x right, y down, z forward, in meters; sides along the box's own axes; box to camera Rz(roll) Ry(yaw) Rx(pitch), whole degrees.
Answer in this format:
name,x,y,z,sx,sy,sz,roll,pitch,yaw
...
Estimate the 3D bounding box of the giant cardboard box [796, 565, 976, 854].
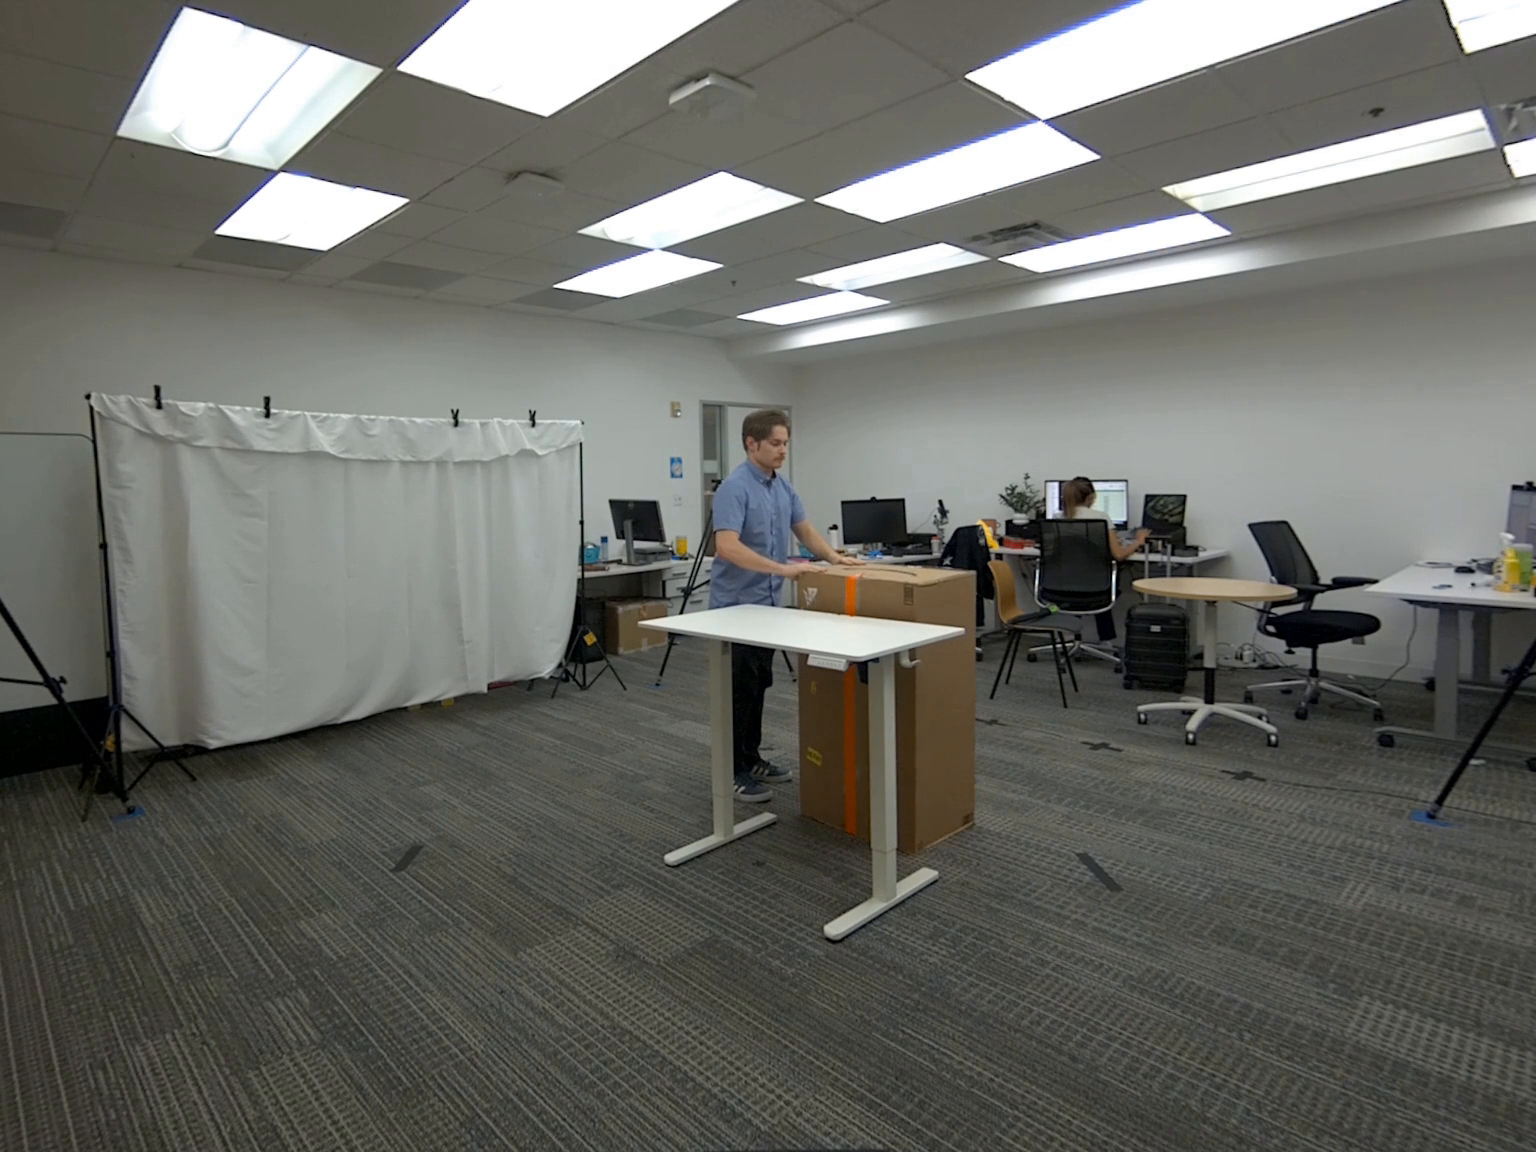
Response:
name,x,y,z,sx,sy,sz,roll,pitch,yaw
giant cardboard box,0.472,0.487,3.452,0.415,1.021,0.595,-5,7,-44
